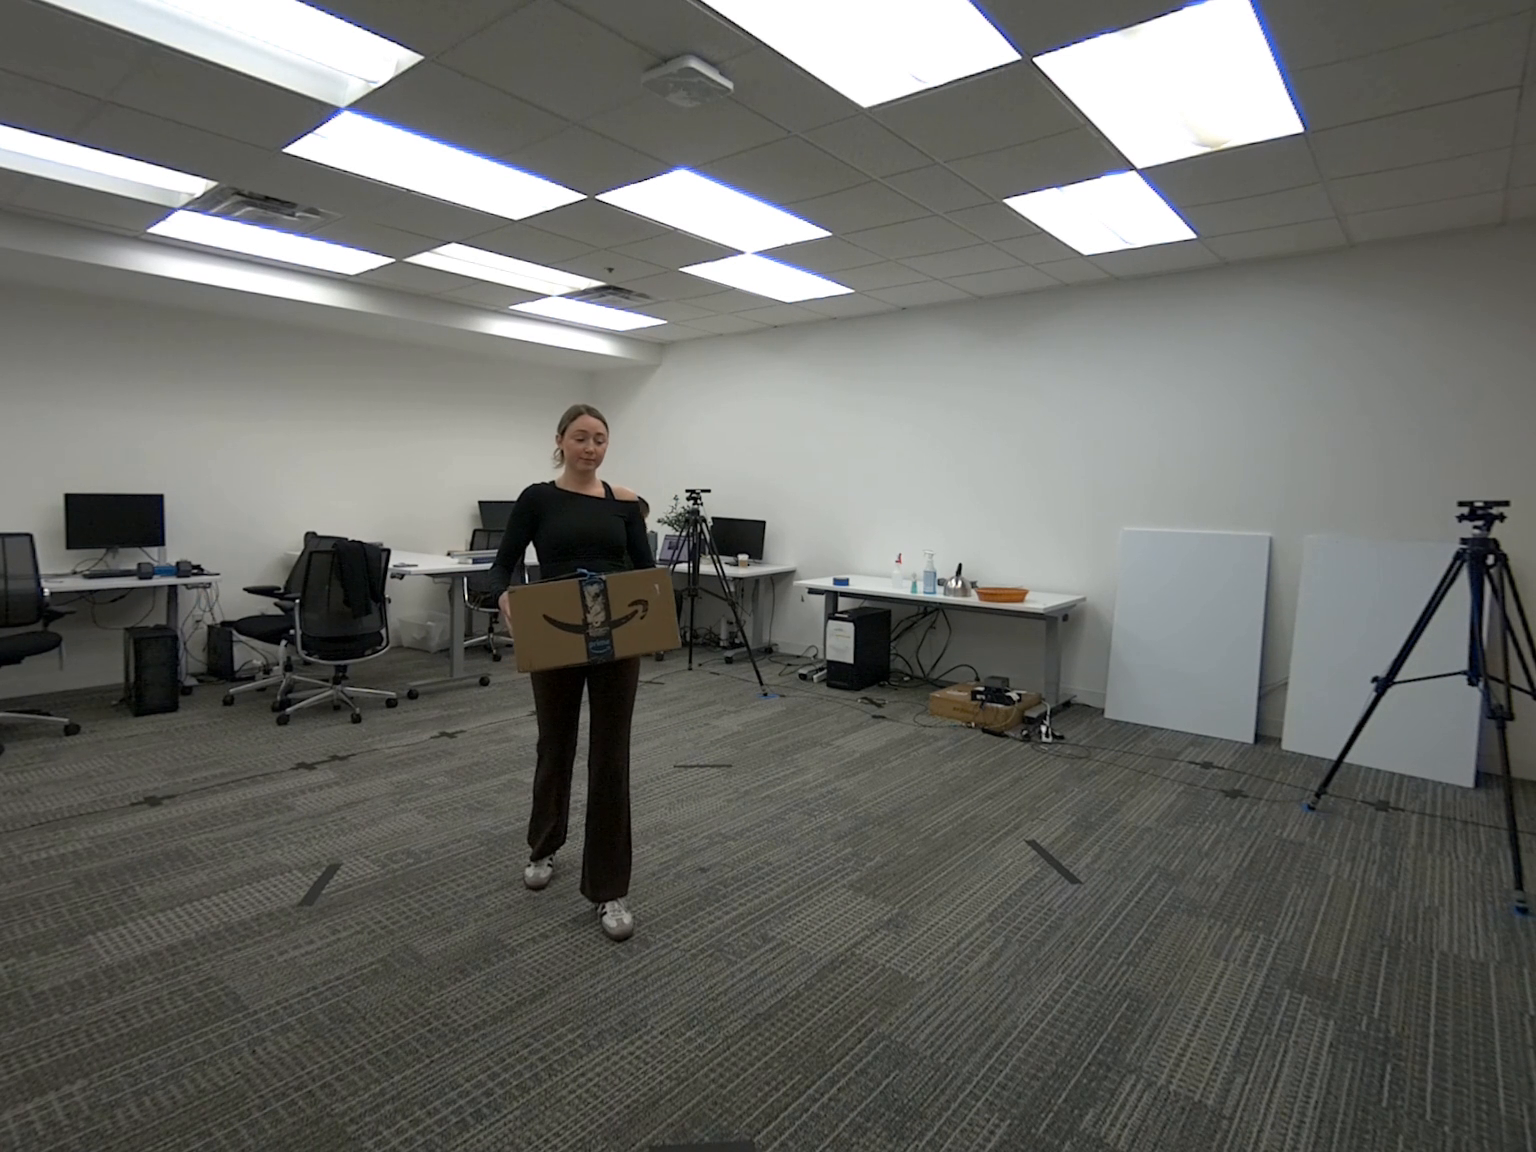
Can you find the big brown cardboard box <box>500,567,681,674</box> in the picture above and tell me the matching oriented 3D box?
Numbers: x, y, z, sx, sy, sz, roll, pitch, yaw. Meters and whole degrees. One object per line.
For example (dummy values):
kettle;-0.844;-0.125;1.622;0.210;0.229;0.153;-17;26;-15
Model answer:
big brown cardboard box;-0.524;0.128;2.395;0.411;0.235;0.593;-7;-5;-17
